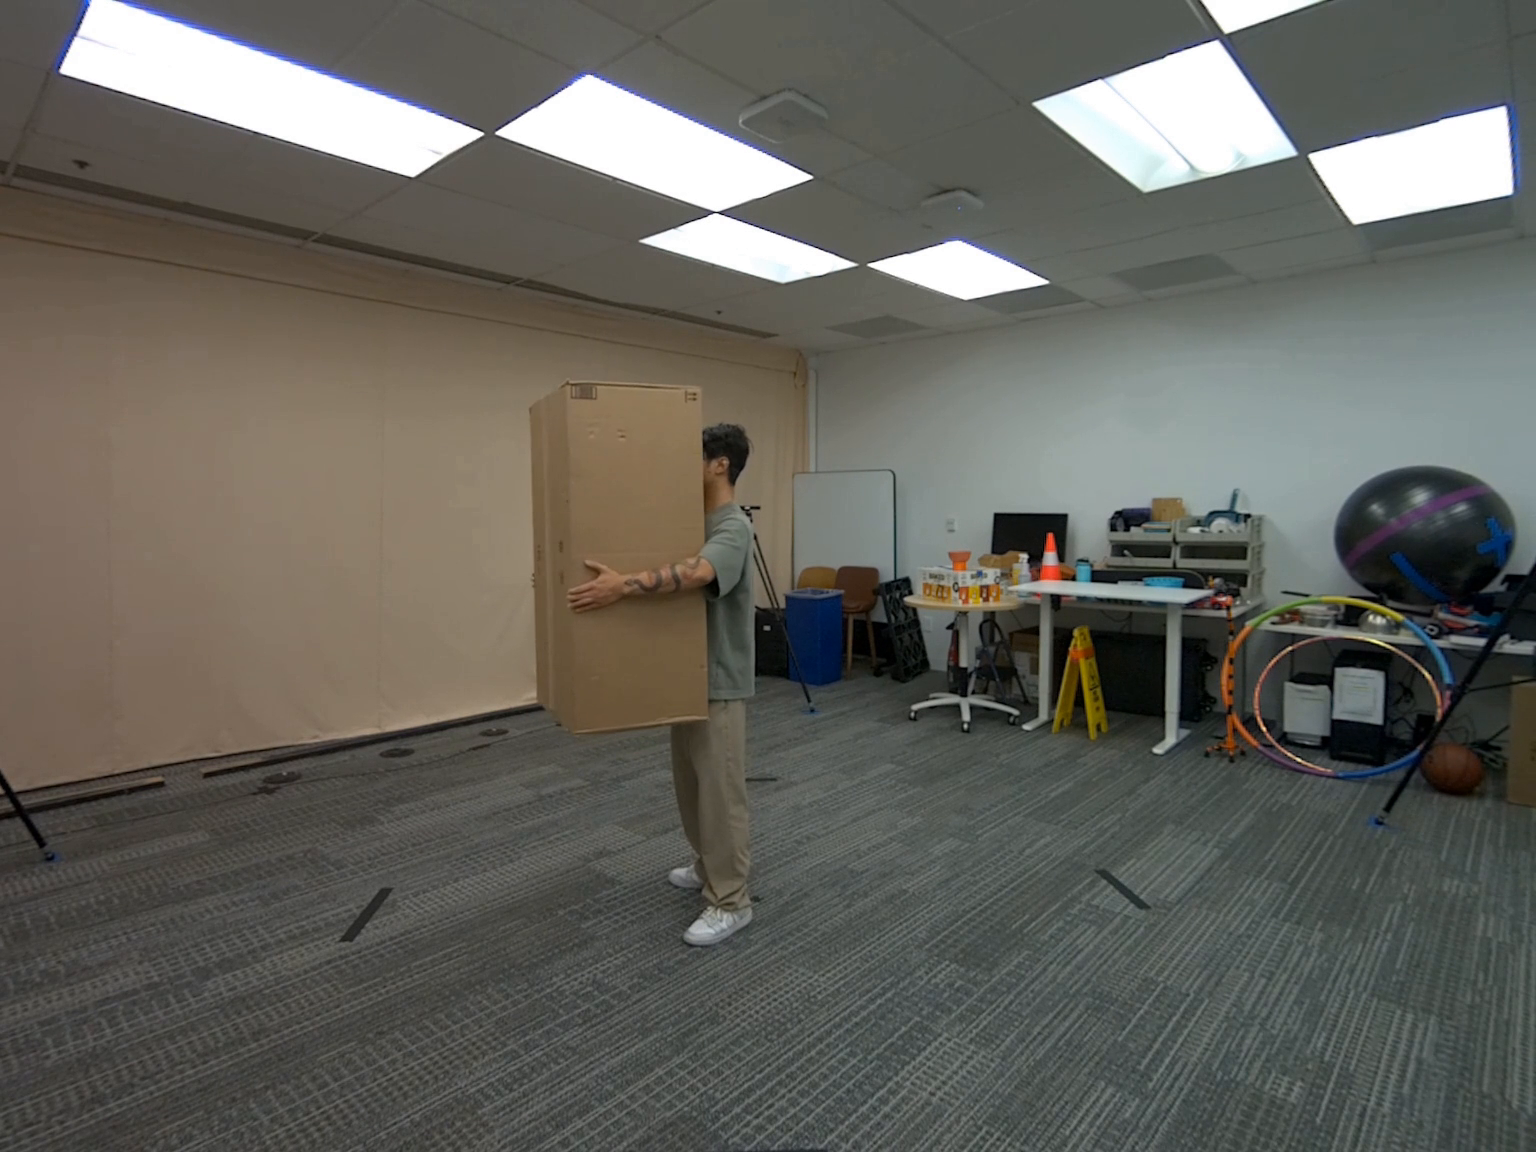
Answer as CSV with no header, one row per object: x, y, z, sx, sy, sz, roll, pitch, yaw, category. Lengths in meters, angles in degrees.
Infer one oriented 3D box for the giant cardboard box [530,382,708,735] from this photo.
-0.504,-0.072,2.751,0.417,1.025,0.591,-2,1,-24,giant cardboard box
